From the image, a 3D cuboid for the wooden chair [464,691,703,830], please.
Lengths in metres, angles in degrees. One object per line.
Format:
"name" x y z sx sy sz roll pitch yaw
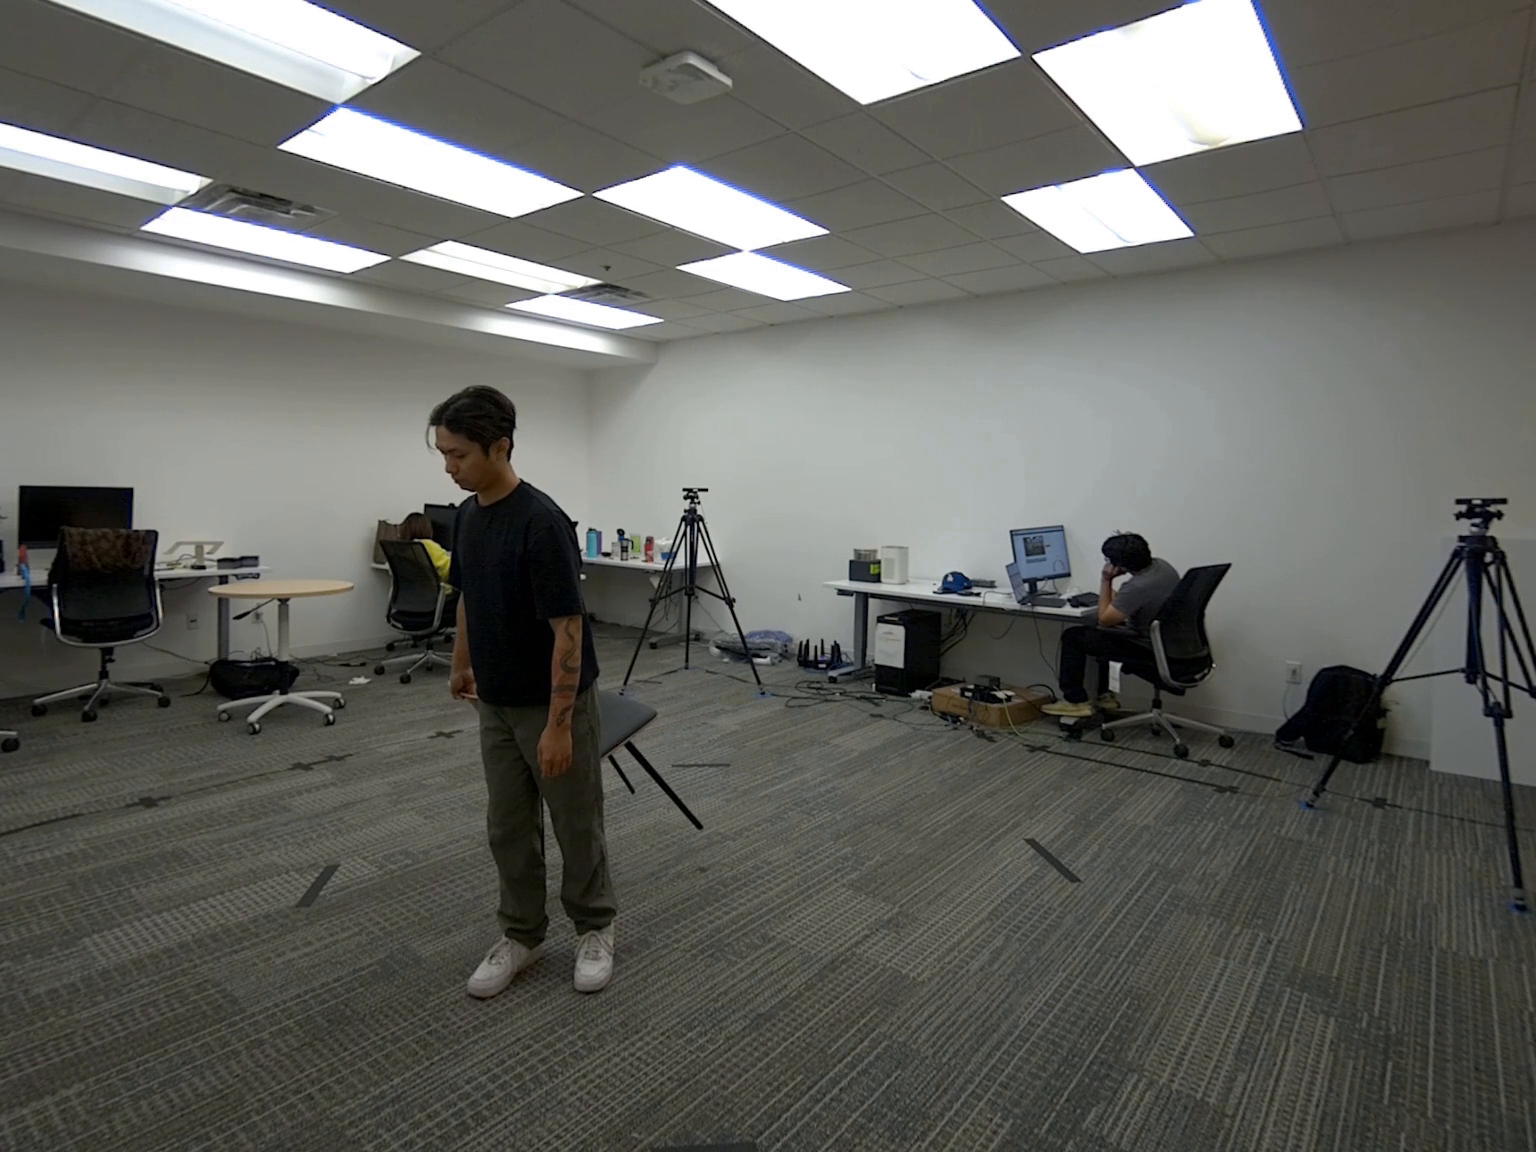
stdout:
"wooden chair" -0.666 0.589 2.930 0.519 0.855 0.494 -36 25 -32
